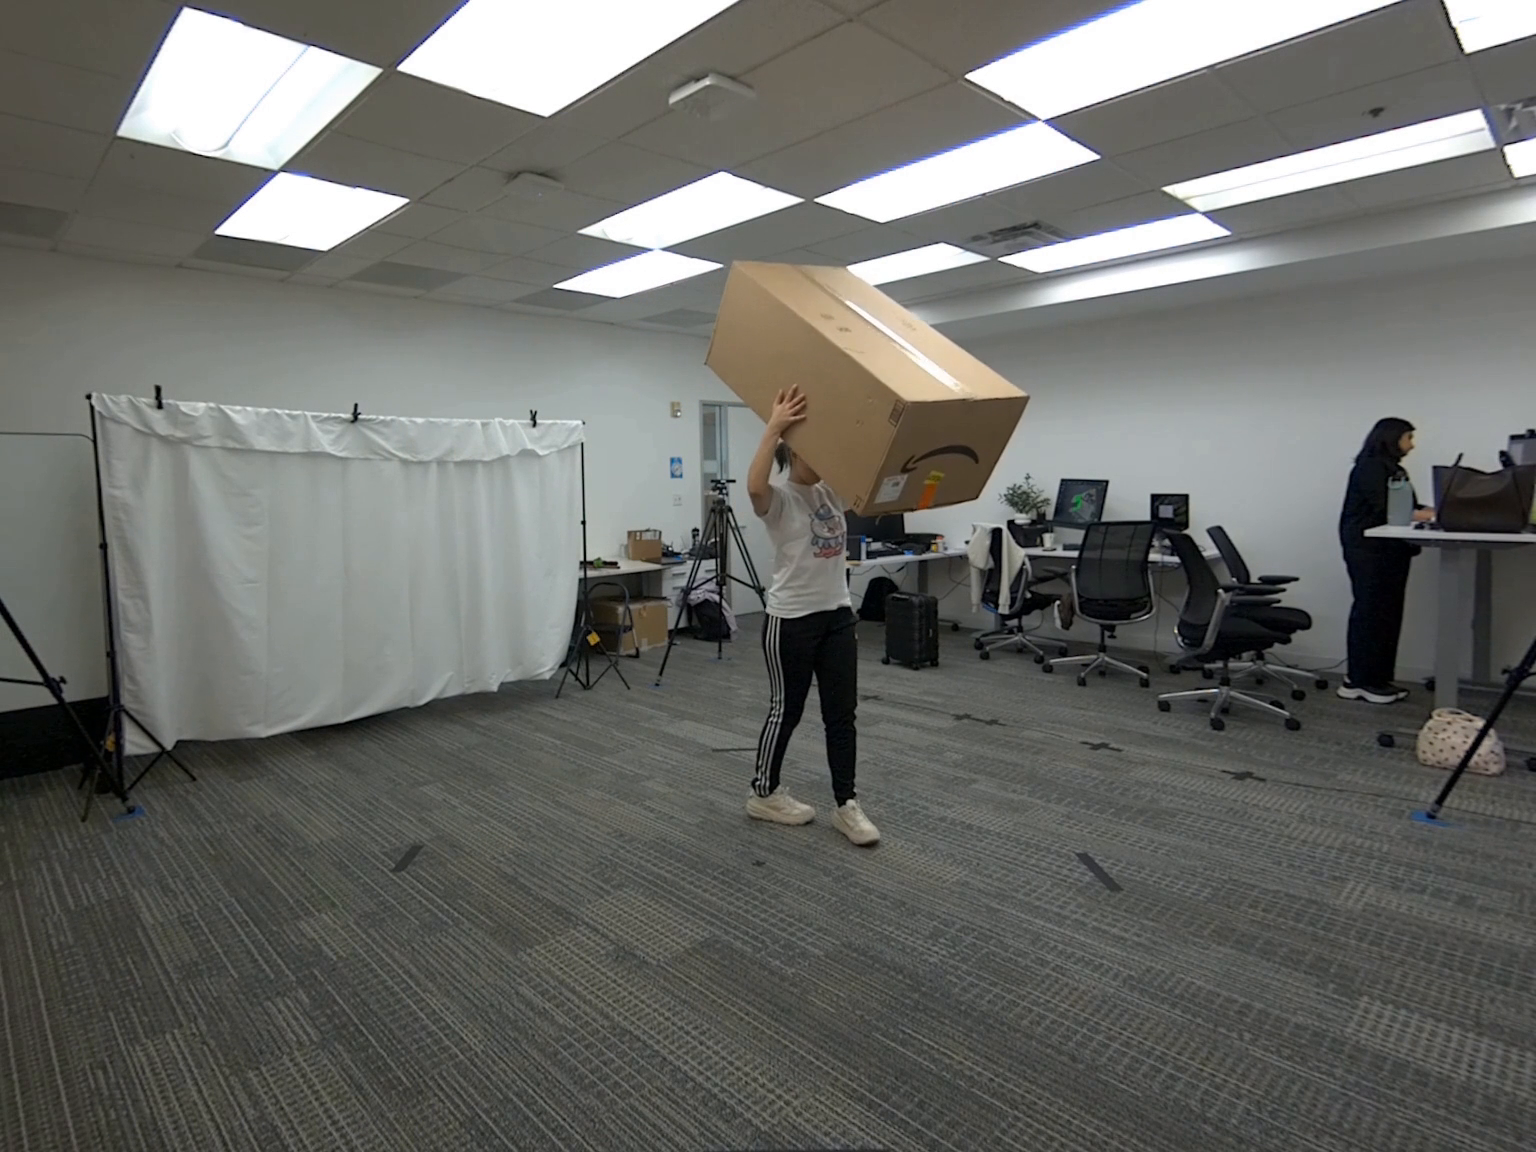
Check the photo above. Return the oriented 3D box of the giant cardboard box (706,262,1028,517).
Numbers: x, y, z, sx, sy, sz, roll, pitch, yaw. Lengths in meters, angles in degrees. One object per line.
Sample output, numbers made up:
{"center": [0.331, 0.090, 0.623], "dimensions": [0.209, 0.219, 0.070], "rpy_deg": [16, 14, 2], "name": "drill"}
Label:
{"center": [0.310, -0.705, 3.090], "dimensions": [0.570, 0.440, 1.067], "rpy_deg": [-8, 44, -35], "name": "giant cardboard box"}
